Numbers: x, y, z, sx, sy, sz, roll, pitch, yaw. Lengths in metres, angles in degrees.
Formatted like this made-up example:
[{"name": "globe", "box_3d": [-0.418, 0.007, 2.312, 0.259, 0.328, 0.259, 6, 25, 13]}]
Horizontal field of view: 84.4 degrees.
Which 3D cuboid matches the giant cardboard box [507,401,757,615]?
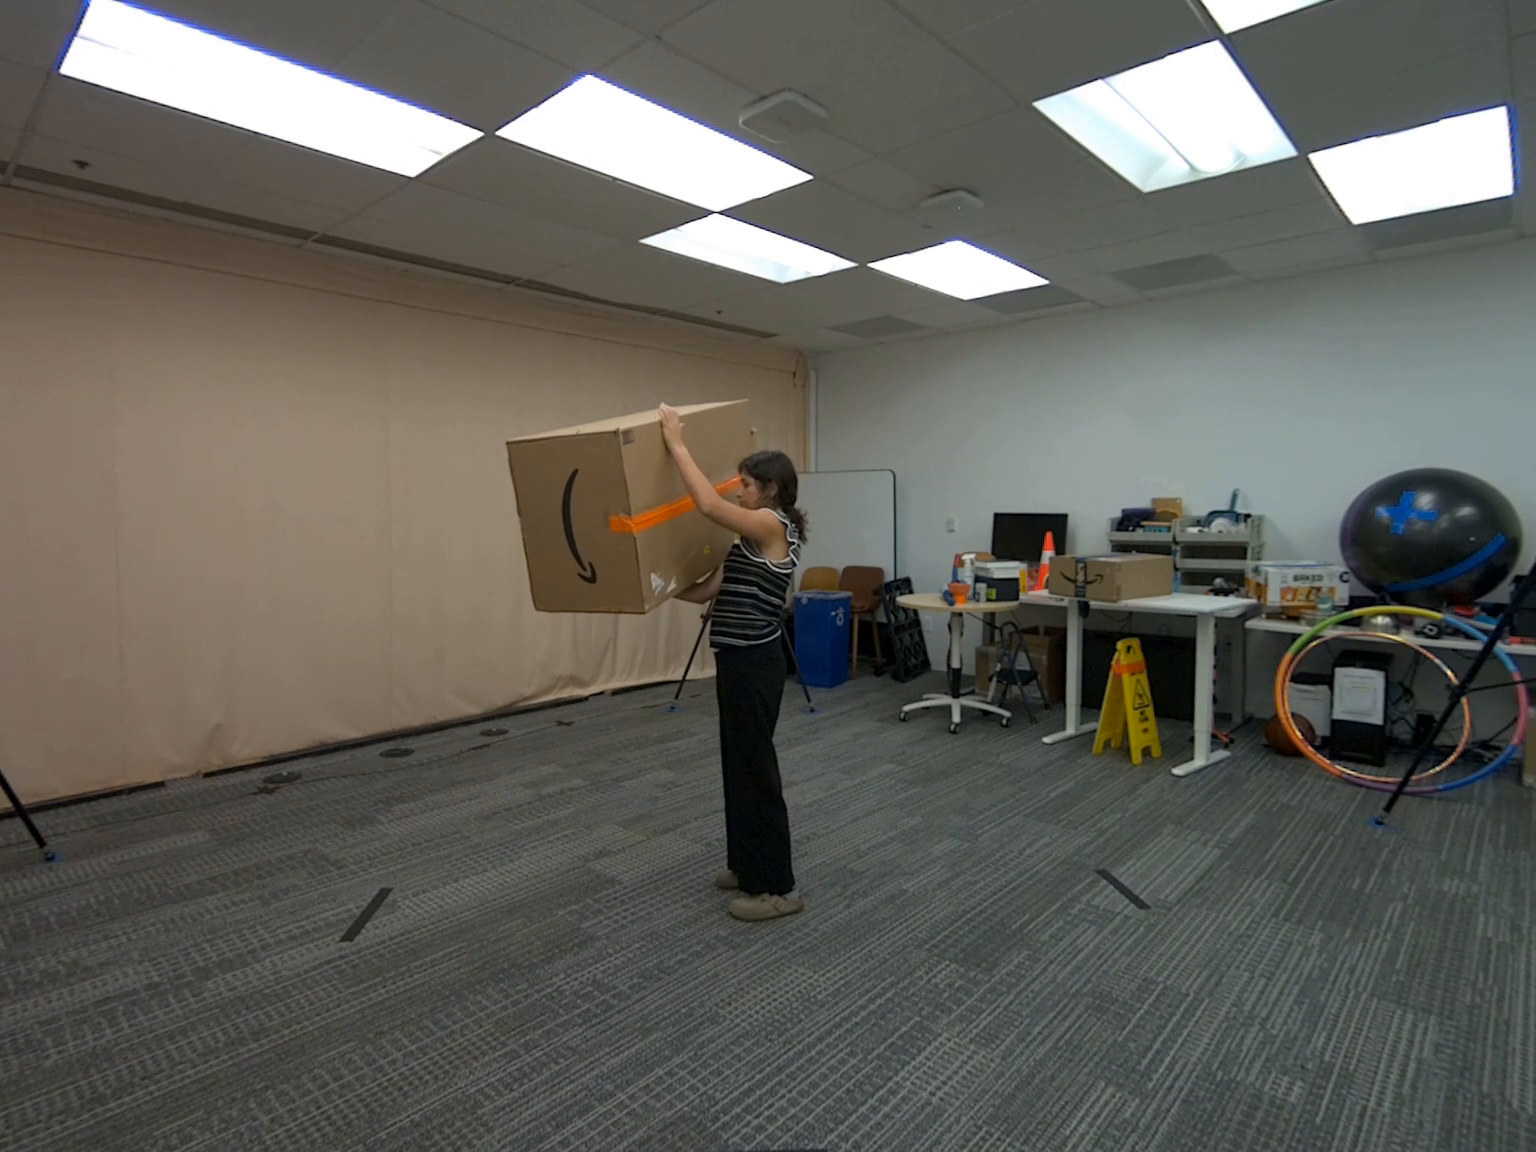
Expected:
[{"name": "giant cardboard box", "box_3d": [-0.417, -0.293, 3.078, 0.436, 0.571, 1.012, -1, 16, 23]}]
